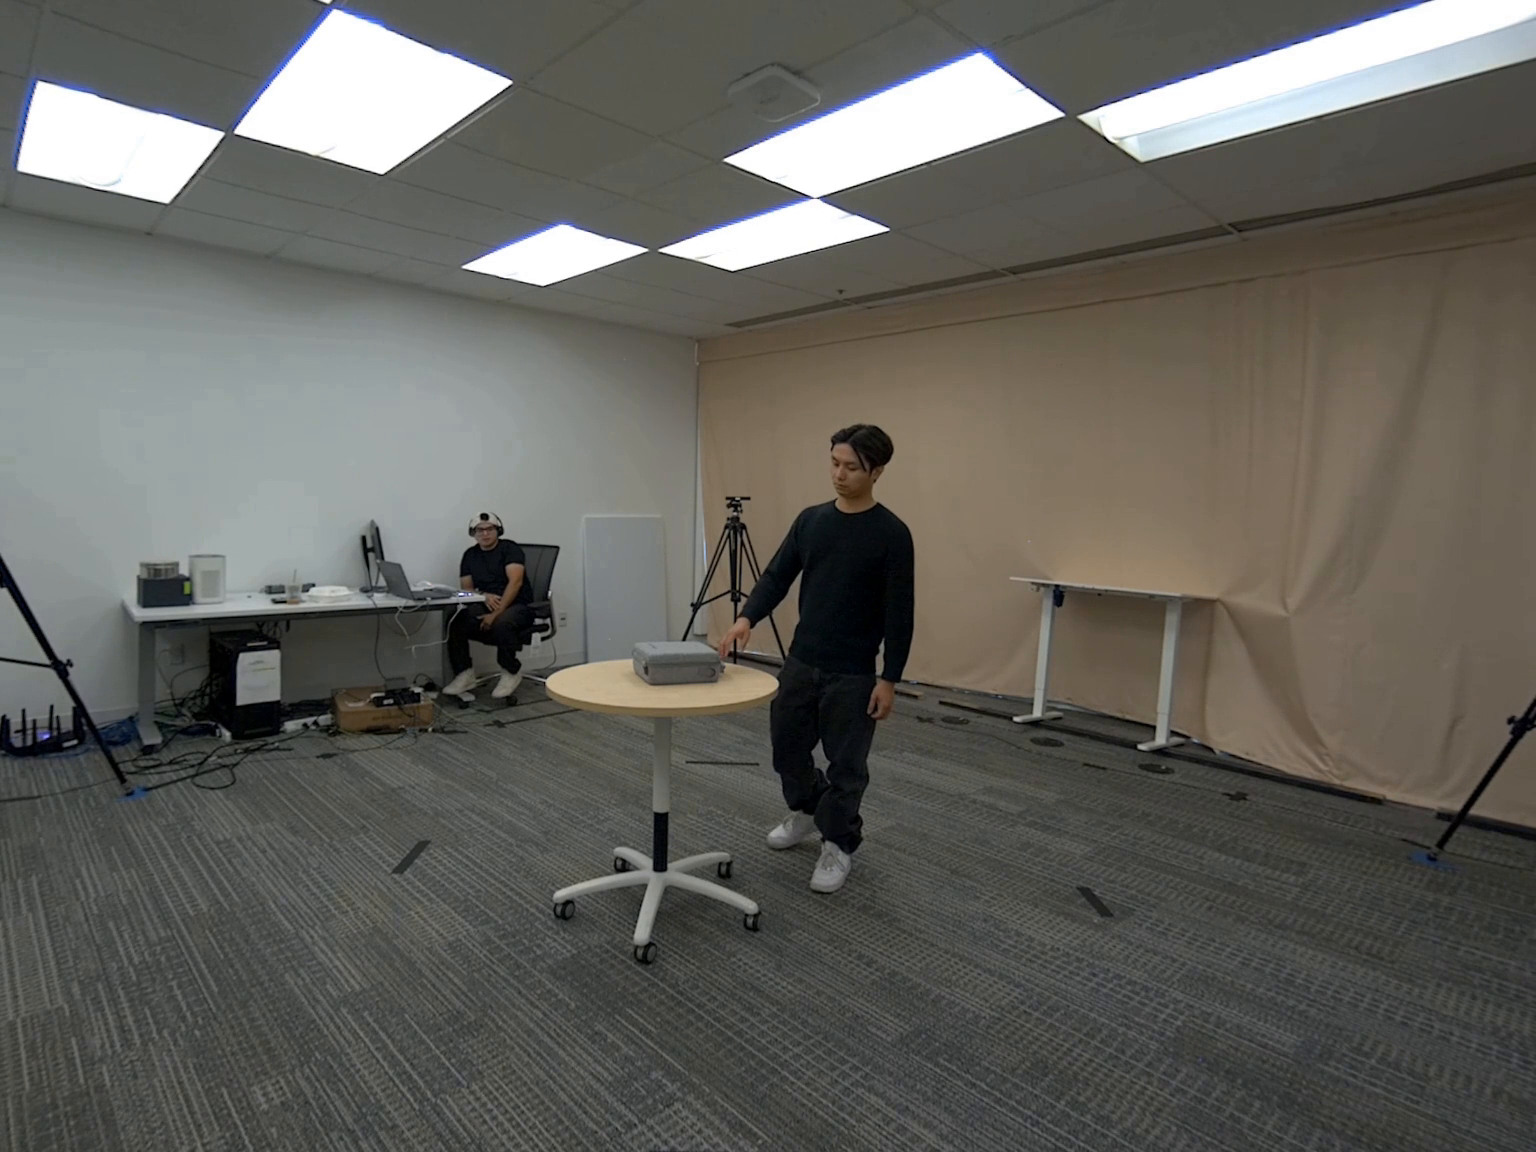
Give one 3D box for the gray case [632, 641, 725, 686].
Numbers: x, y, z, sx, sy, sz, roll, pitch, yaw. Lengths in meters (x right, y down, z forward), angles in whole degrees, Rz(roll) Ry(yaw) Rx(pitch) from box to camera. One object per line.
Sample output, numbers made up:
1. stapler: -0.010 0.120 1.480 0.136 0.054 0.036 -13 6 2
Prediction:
1. gray case: -0.315 0.289 2.846 0.257 0.104 0.261 0 4 -20
